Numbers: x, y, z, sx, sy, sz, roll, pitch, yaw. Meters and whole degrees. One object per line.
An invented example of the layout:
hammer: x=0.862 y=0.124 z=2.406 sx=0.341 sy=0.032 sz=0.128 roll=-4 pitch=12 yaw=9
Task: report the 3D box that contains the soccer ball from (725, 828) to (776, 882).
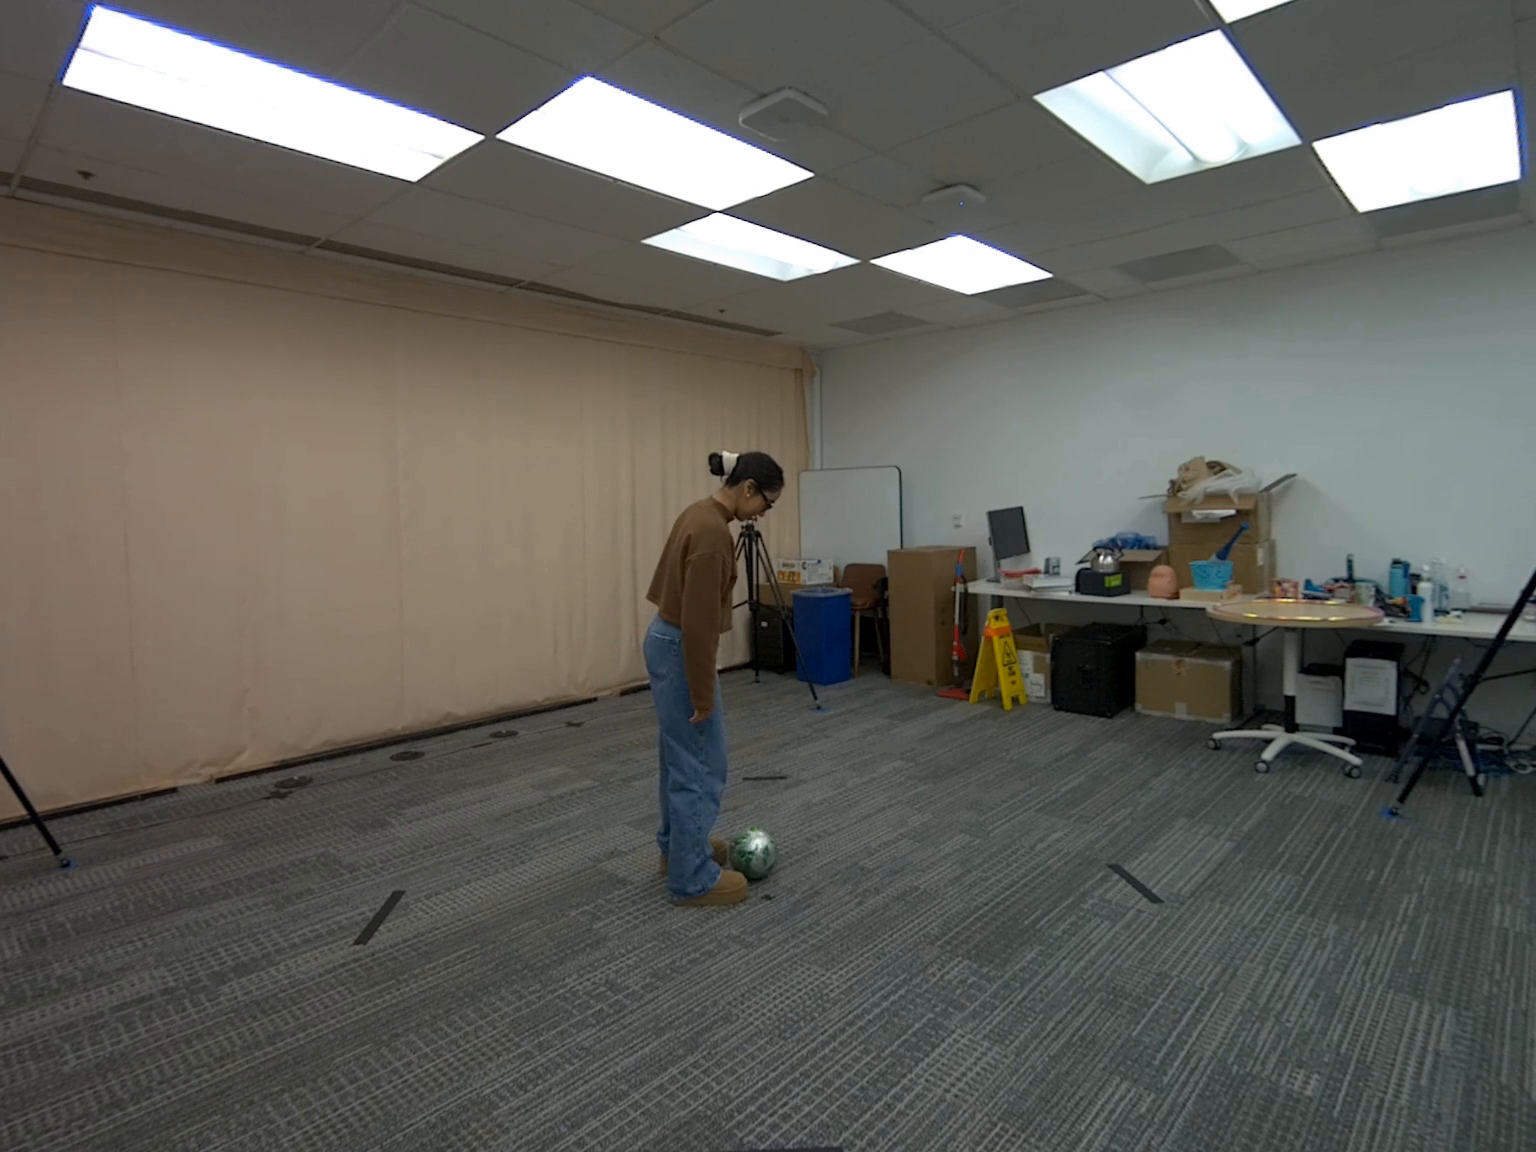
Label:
soccer ball: x=-0.052 y=1.038 z=3.139 sx=0.187 sy=0.187 sz=0.188 roll=-1 pitch=4 yaw=-2
